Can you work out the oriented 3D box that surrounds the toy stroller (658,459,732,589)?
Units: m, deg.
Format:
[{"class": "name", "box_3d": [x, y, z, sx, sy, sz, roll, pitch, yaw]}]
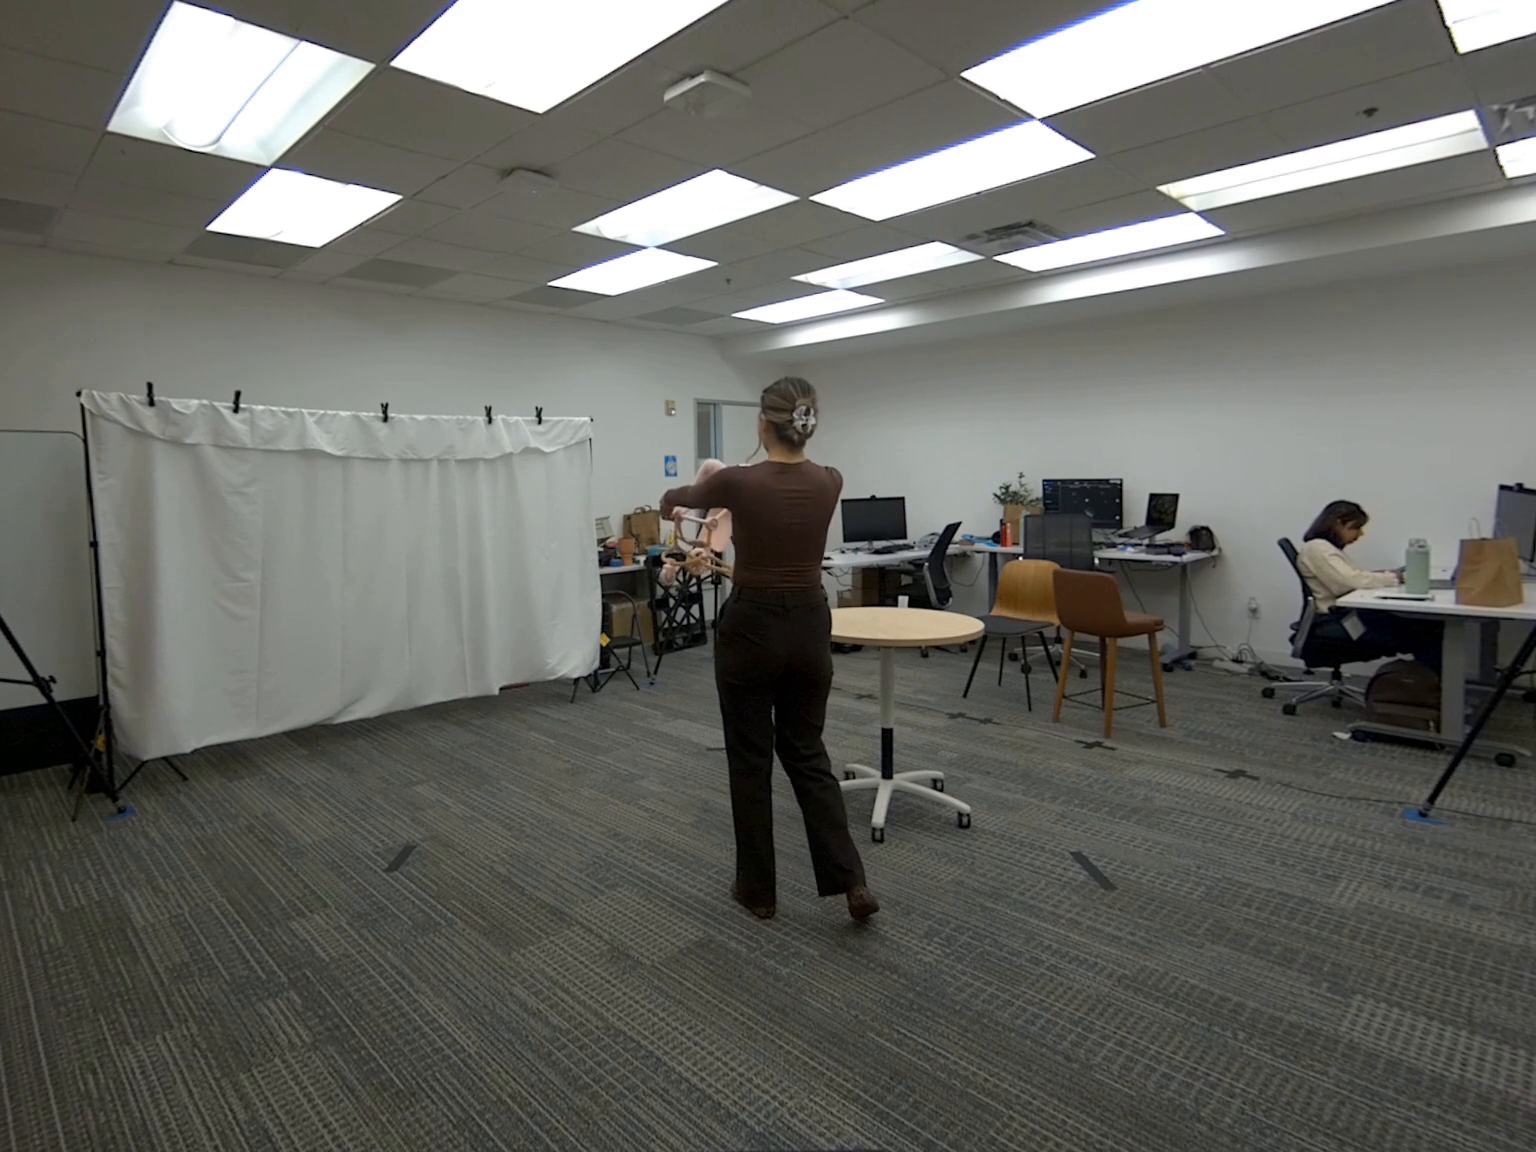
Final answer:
[{"class": "toy stroller", "box_3d": [-0.221, -0.200, 3.255, 0.330, 0.535, 0.291, 14, -2, -40]}]
